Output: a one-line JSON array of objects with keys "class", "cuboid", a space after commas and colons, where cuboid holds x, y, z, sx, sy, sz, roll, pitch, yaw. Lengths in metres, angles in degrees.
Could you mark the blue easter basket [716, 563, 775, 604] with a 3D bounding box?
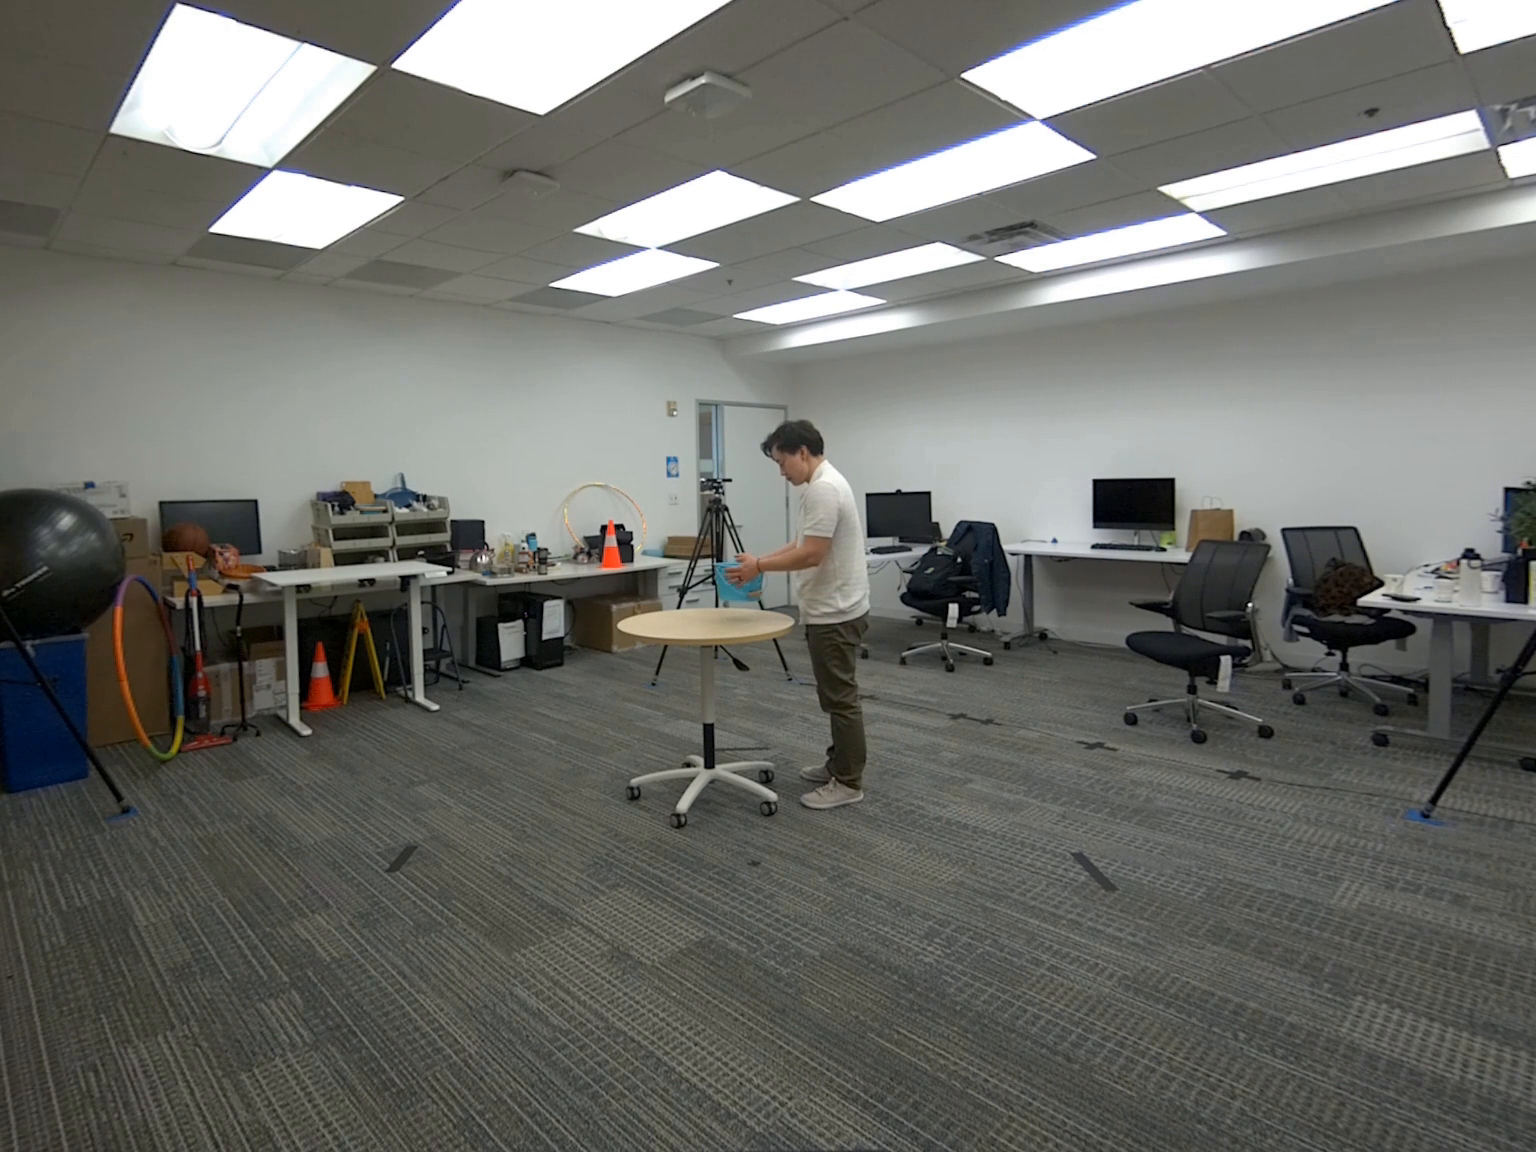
[{"class": "blue easter basket", "cuboid": [-0.104, 0.029, 3.714, 0.243, 0.156, 0.244, 0, 2, -2]}]
